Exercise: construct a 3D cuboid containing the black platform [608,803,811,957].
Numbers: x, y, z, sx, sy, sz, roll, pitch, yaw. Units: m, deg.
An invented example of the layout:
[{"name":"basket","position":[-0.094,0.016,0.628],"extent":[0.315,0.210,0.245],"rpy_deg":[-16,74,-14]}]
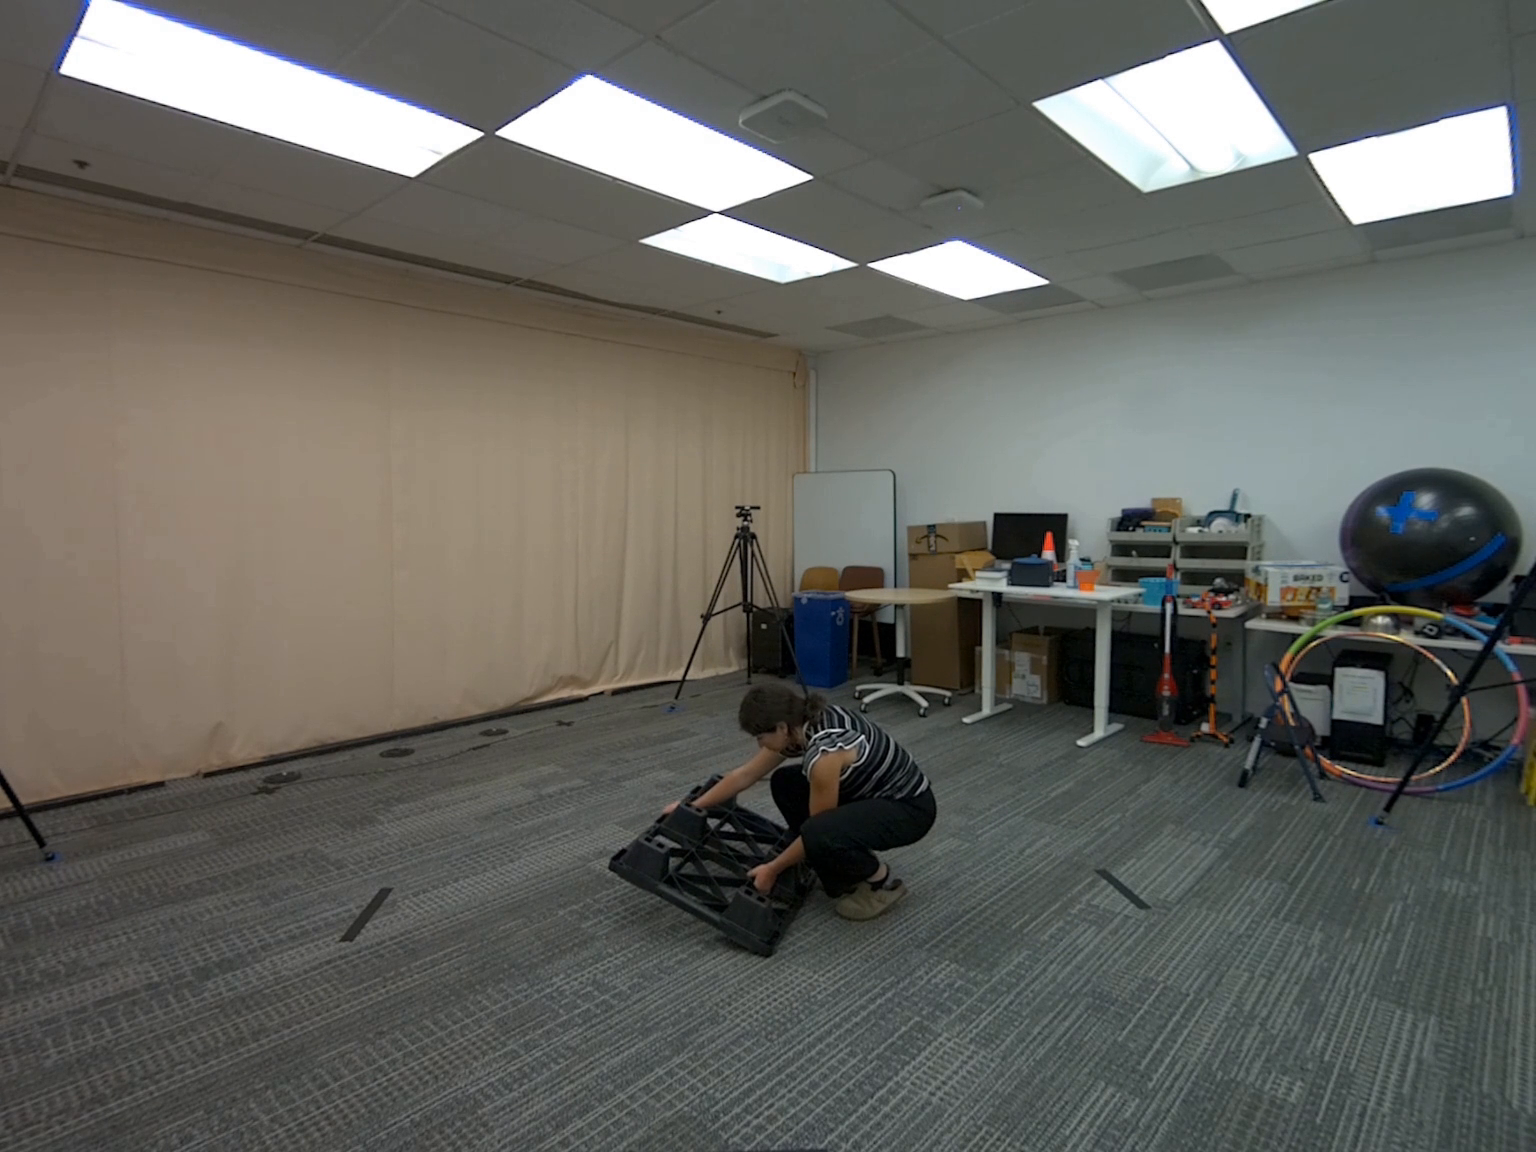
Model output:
[{"name":"black platform","position":[-0.126,0.987,3.041],"extent":[0.618,0.143,0.791],"rpy_deg":[20,11,16]}]
